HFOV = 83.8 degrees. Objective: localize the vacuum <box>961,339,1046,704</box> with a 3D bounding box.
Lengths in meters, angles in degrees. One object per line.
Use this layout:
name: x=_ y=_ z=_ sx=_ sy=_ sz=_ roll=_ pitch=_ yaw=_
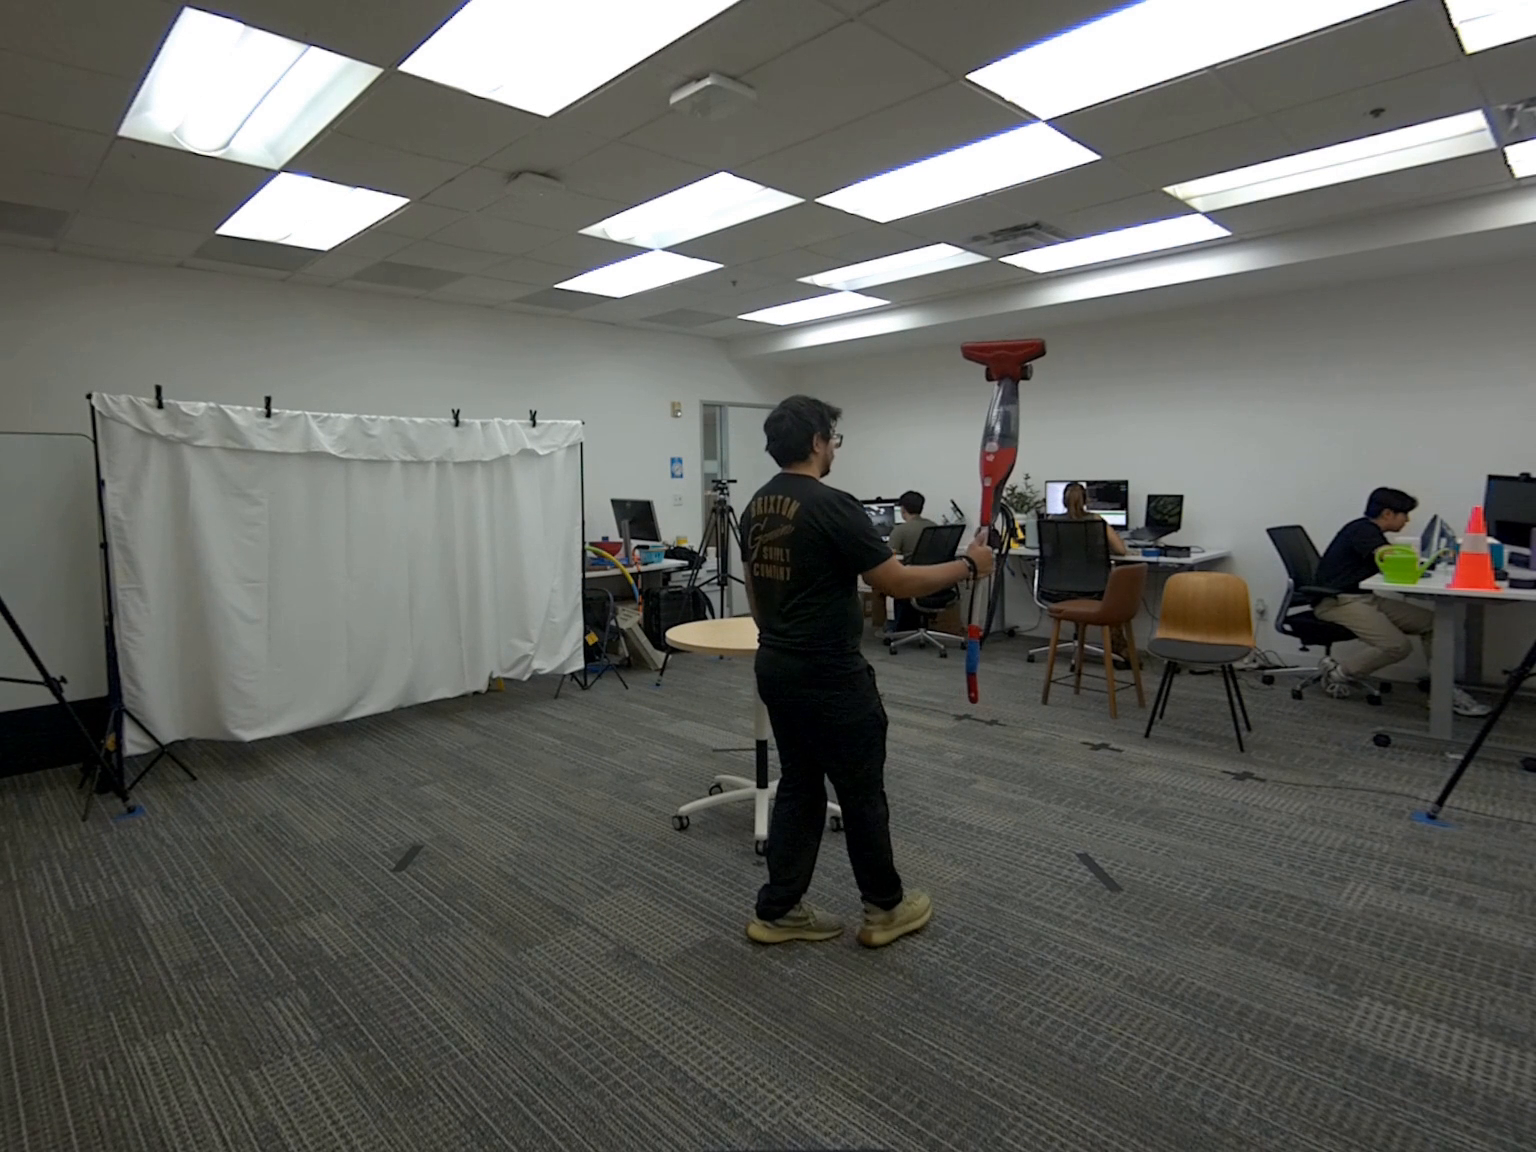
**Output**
vacuum: x=0.681 y=-0.157 z=2.596 sx=0.260 sy=1.050 sz=0.139 roll=5 pitch=-1 yaw=38
